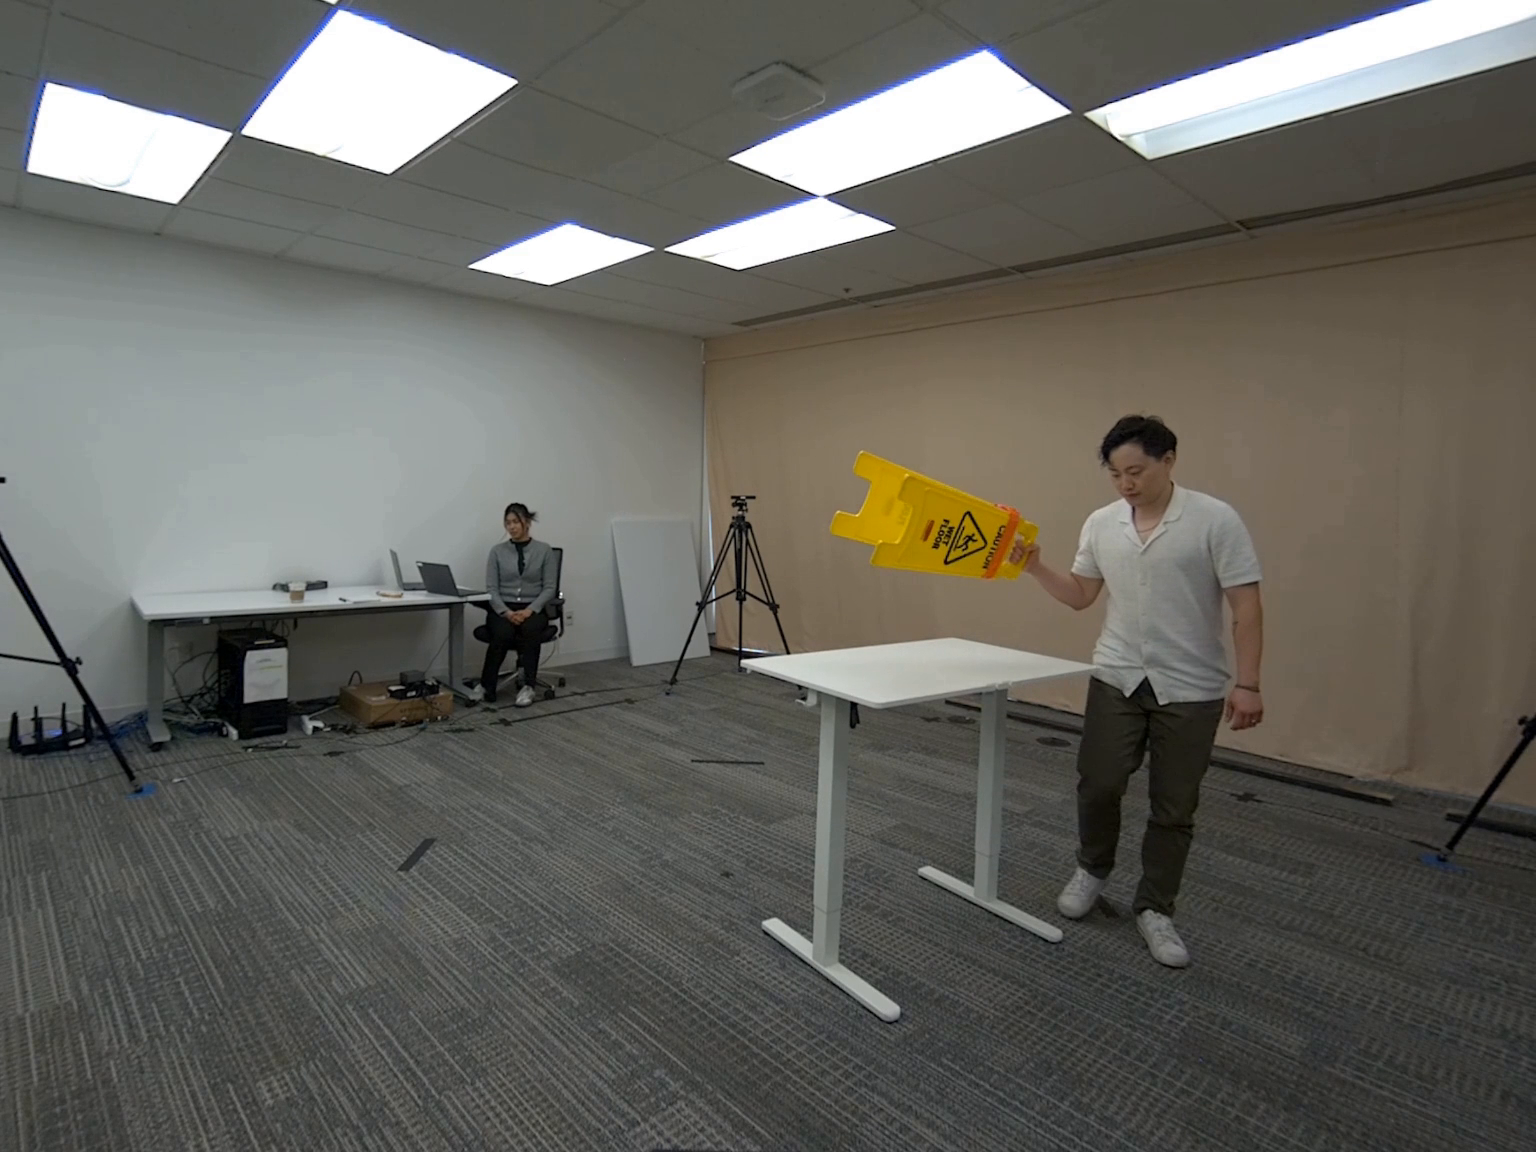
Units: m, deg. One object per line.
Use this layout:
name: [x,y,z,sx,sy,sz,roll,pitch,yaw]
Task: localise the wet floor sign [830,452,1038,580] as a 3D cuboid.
wet floor sign: [0.563,-0.142,2.655,0.632,0.281,0.297,14,15,-24]
